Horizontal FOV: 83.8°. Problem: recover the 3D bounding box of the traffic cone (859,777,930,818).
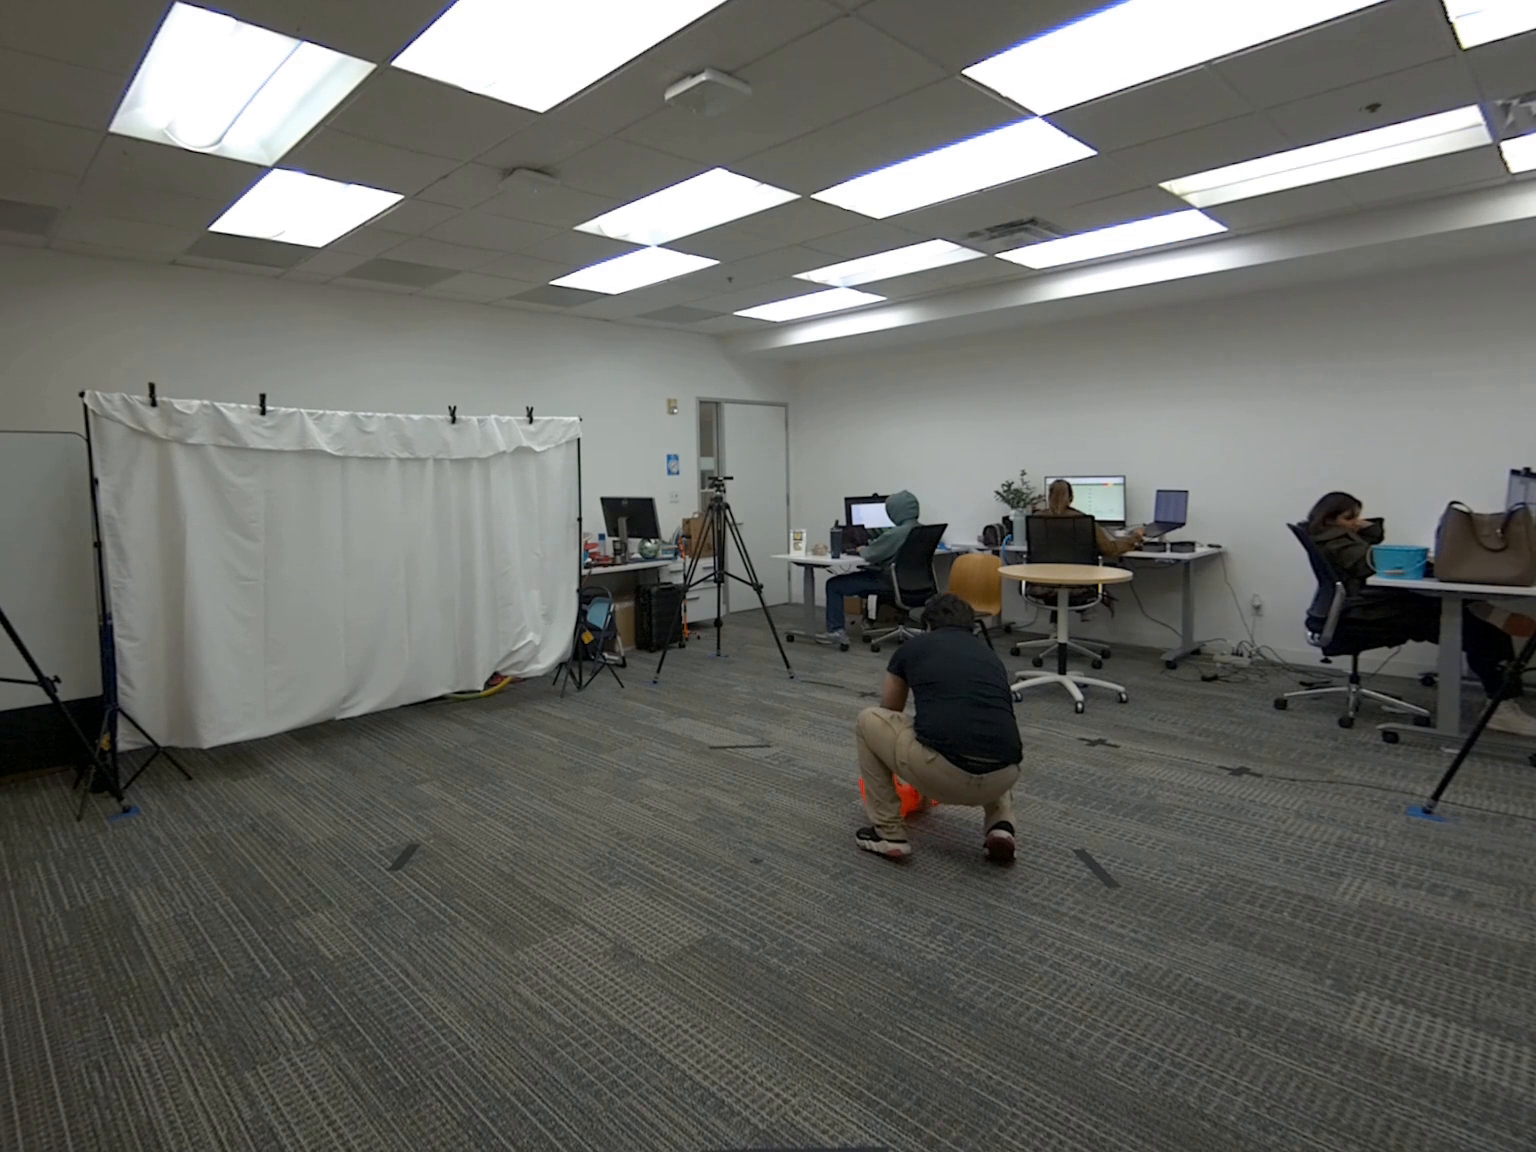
[{"bbox_3d":[0.620,0.931,3.565,0.371,0.207,0.208,10,-12,-41],"label":"traffic cone"}]
